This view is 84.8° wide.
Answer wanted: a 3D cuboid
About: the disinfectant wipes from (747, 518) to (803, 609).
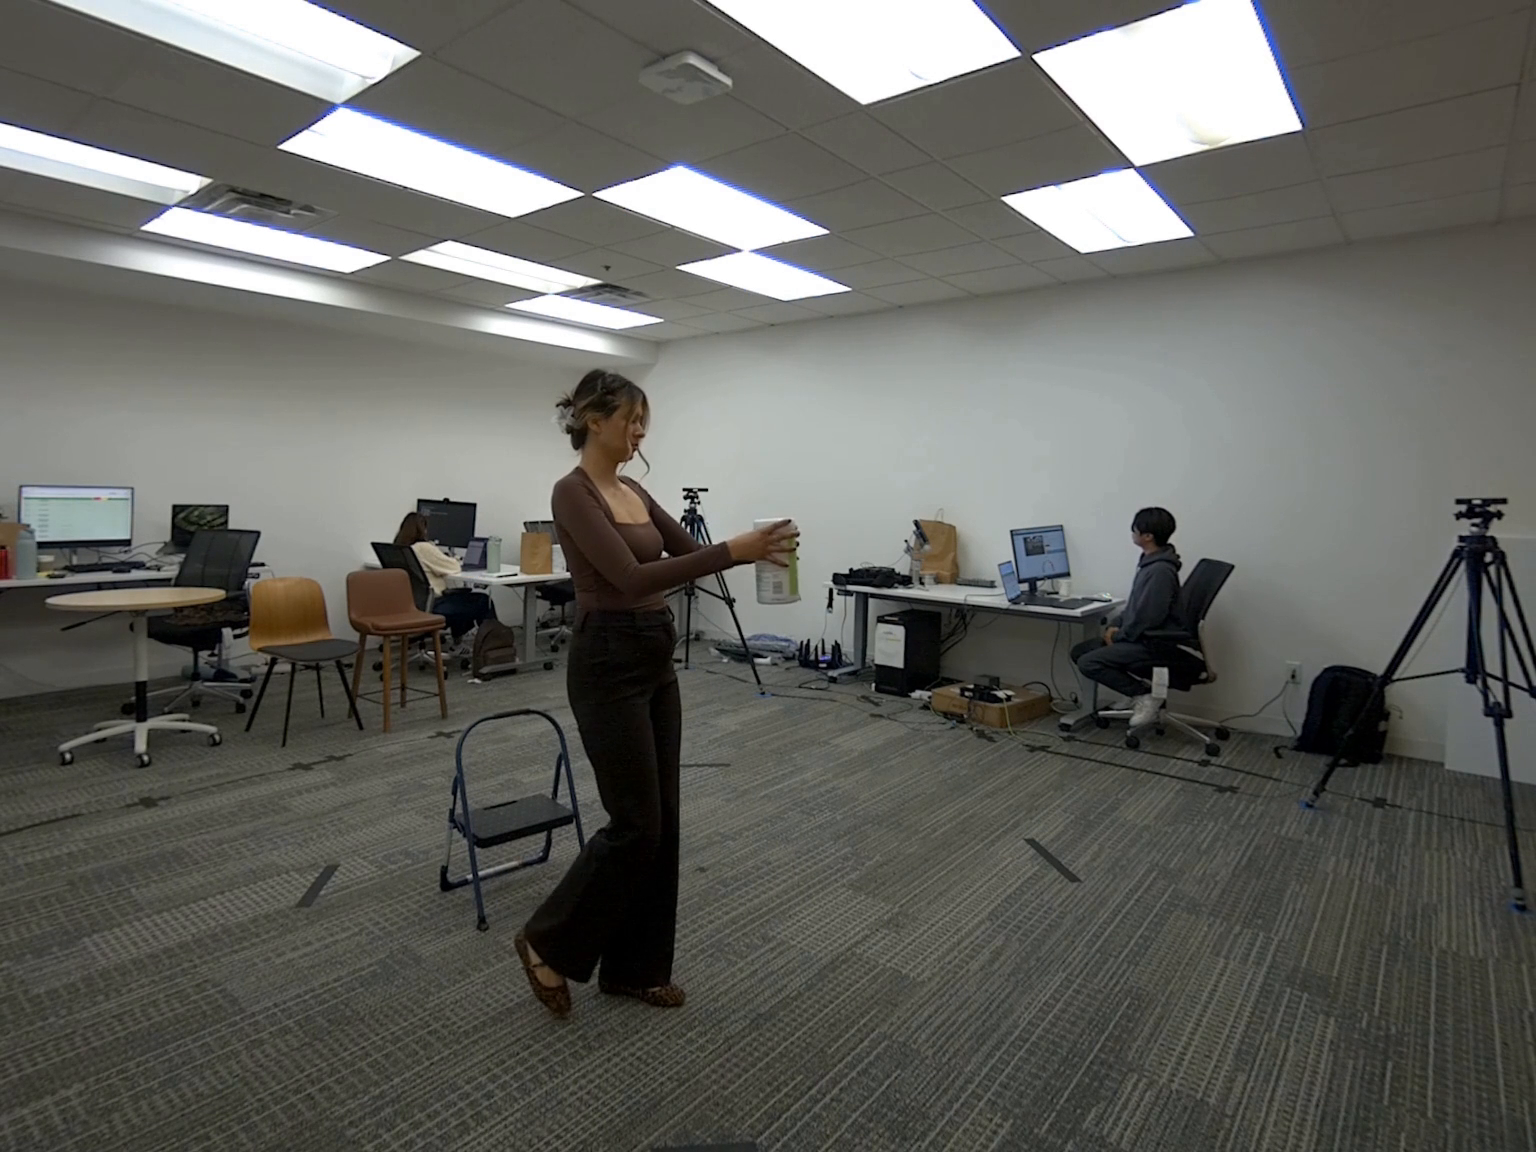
[{"bbox_3d":[0.015,-0.035,2.177,0.118,0.218,0.118,-4,0,-2],"label":"disinfectant wipes"}]
